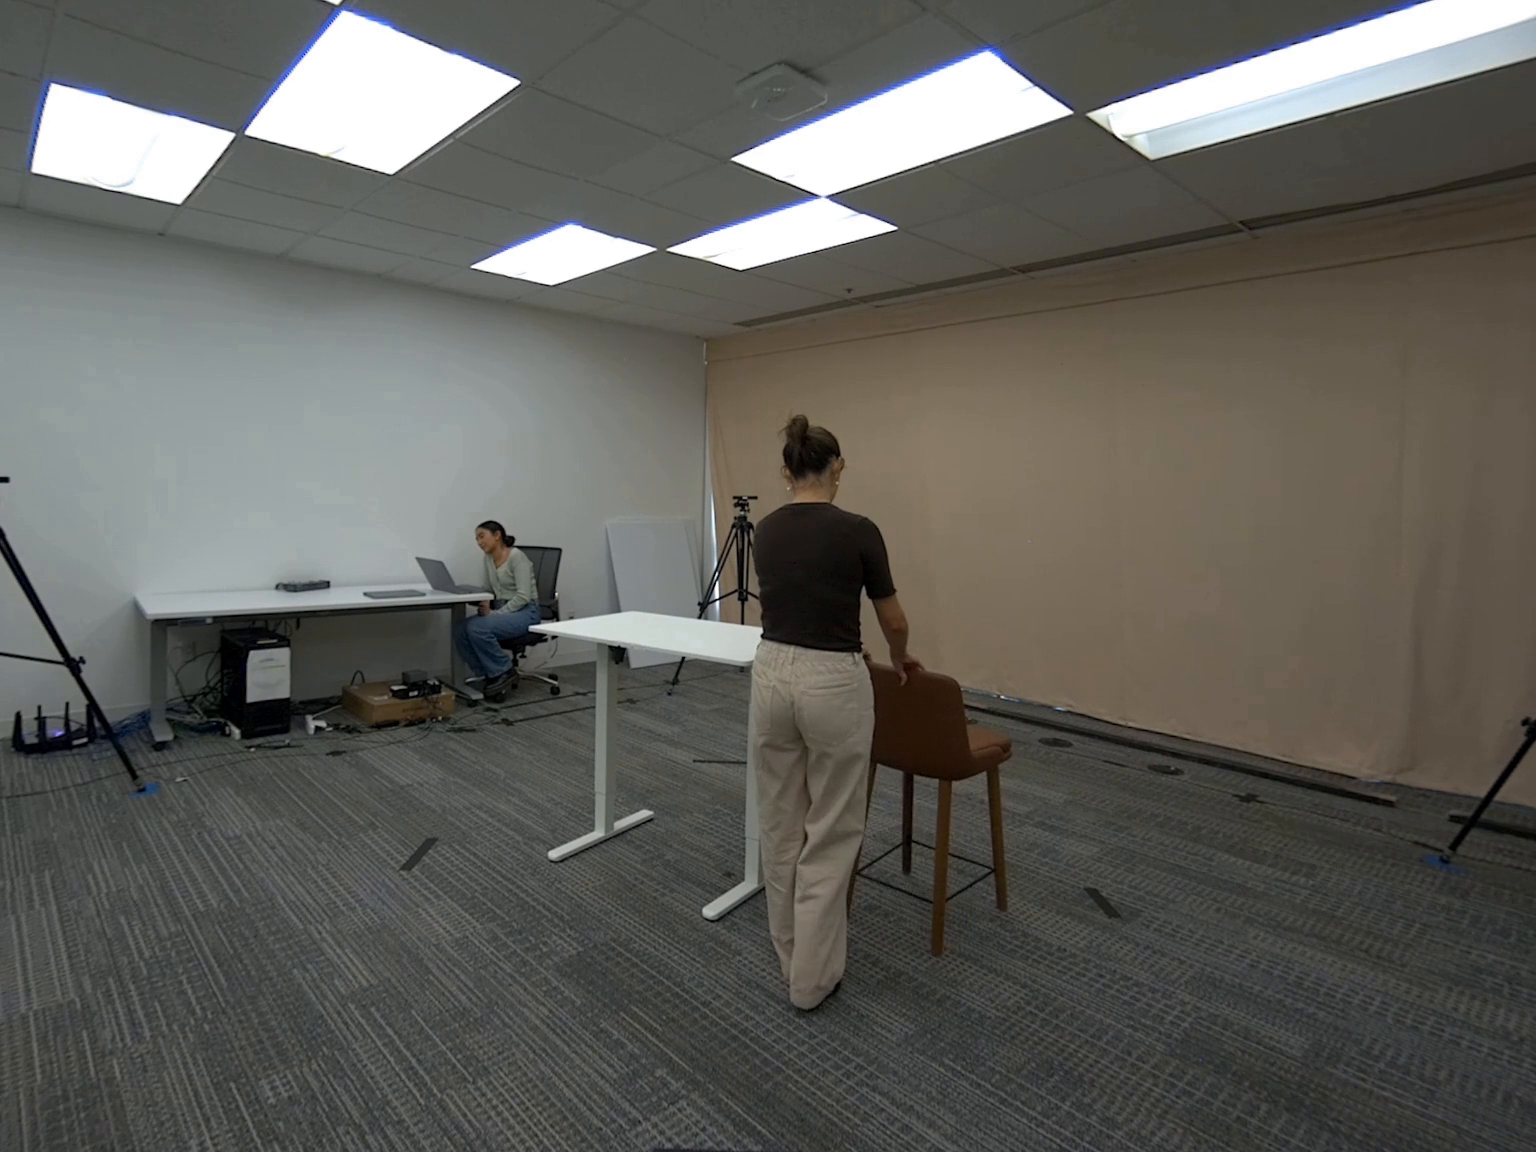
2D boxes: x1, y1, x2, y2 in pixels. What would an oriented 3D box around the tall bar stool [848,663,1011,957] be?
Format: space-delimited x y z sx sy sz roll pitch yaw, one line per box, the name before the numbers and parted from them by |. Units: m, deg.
tall bar stool | 0.530 0.710 2.831 0.468 0.886 0.457 5 7 40
